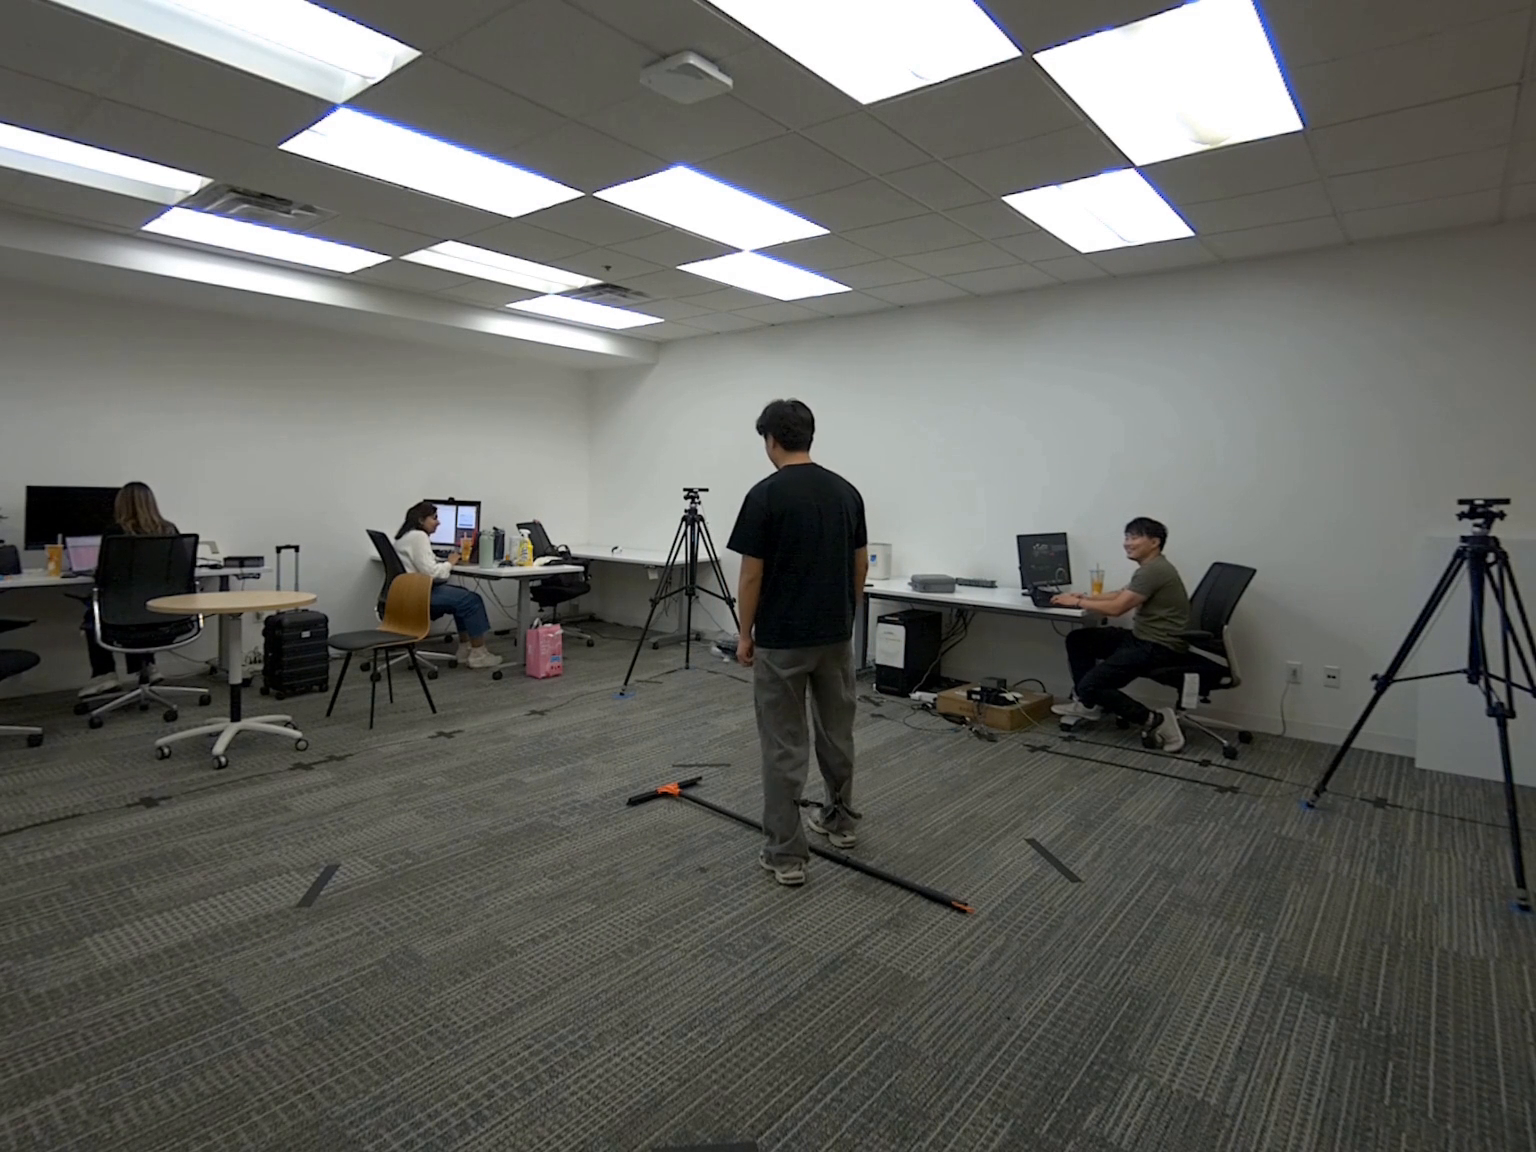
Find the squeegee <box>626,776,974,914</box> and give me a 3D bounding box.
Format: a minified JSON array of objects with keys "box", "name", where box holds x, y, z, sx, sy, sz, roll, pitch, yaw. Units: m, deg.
[{"box":[0.085,1.015,3.351,1.592,0.052,0.425,8,10,43],"name":"squeegee"}]
